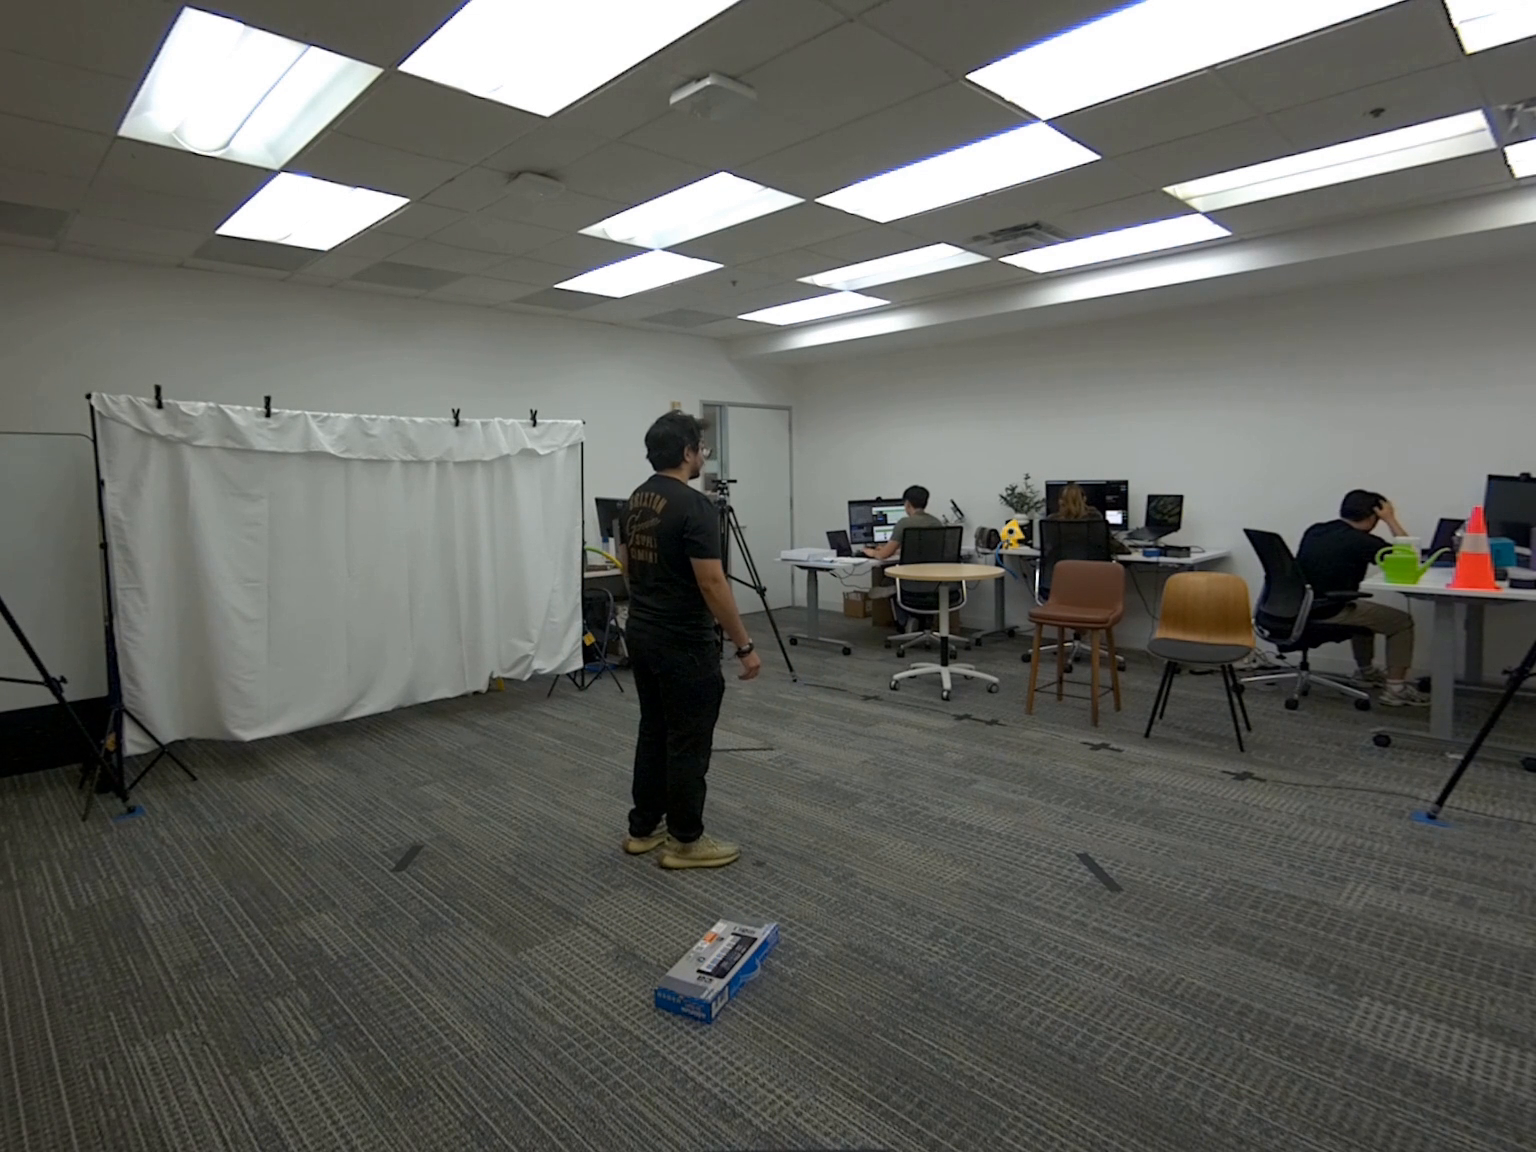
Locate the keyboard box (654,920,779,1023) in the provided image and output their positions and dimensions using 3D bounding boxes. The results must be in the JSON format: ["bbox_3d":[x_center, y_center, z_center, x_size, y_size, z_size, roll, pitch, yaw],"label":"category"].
[{"bbox_3d":[-0.131,1.098,2.429,0.180,0.059,0.429,1,7,26],"label":"keyboard box"}]
